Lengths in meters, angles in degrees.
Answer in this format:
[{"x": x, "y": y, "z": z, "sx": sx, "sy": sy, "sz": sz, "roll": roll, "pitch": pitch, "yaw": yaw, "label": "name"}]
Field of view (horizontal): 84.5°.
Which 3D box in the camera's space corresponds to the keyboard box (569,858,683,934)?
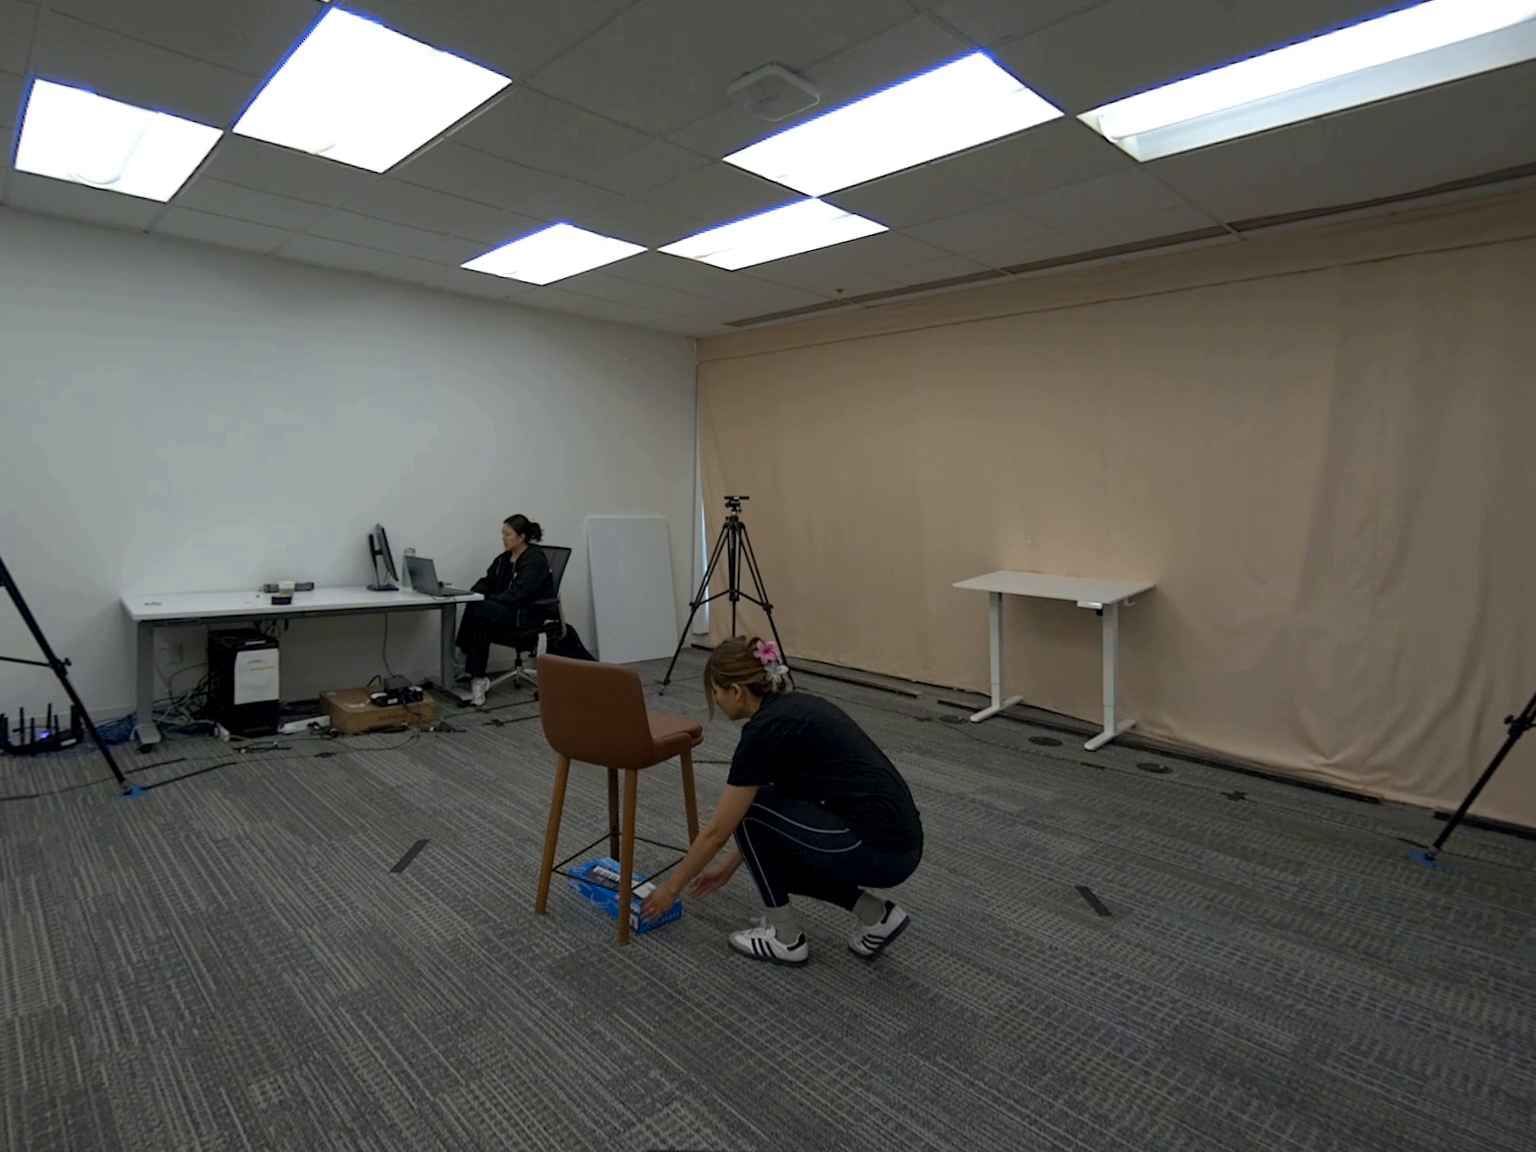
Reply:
[{"x": -0.504, "y": 1.091, "z": 2.885, "sx": 0.172, "sy": 0.059, "sz": 0.448, "roll": -3, "pitch": 7, "yaw": -43, "label": "keyboard box"}]
